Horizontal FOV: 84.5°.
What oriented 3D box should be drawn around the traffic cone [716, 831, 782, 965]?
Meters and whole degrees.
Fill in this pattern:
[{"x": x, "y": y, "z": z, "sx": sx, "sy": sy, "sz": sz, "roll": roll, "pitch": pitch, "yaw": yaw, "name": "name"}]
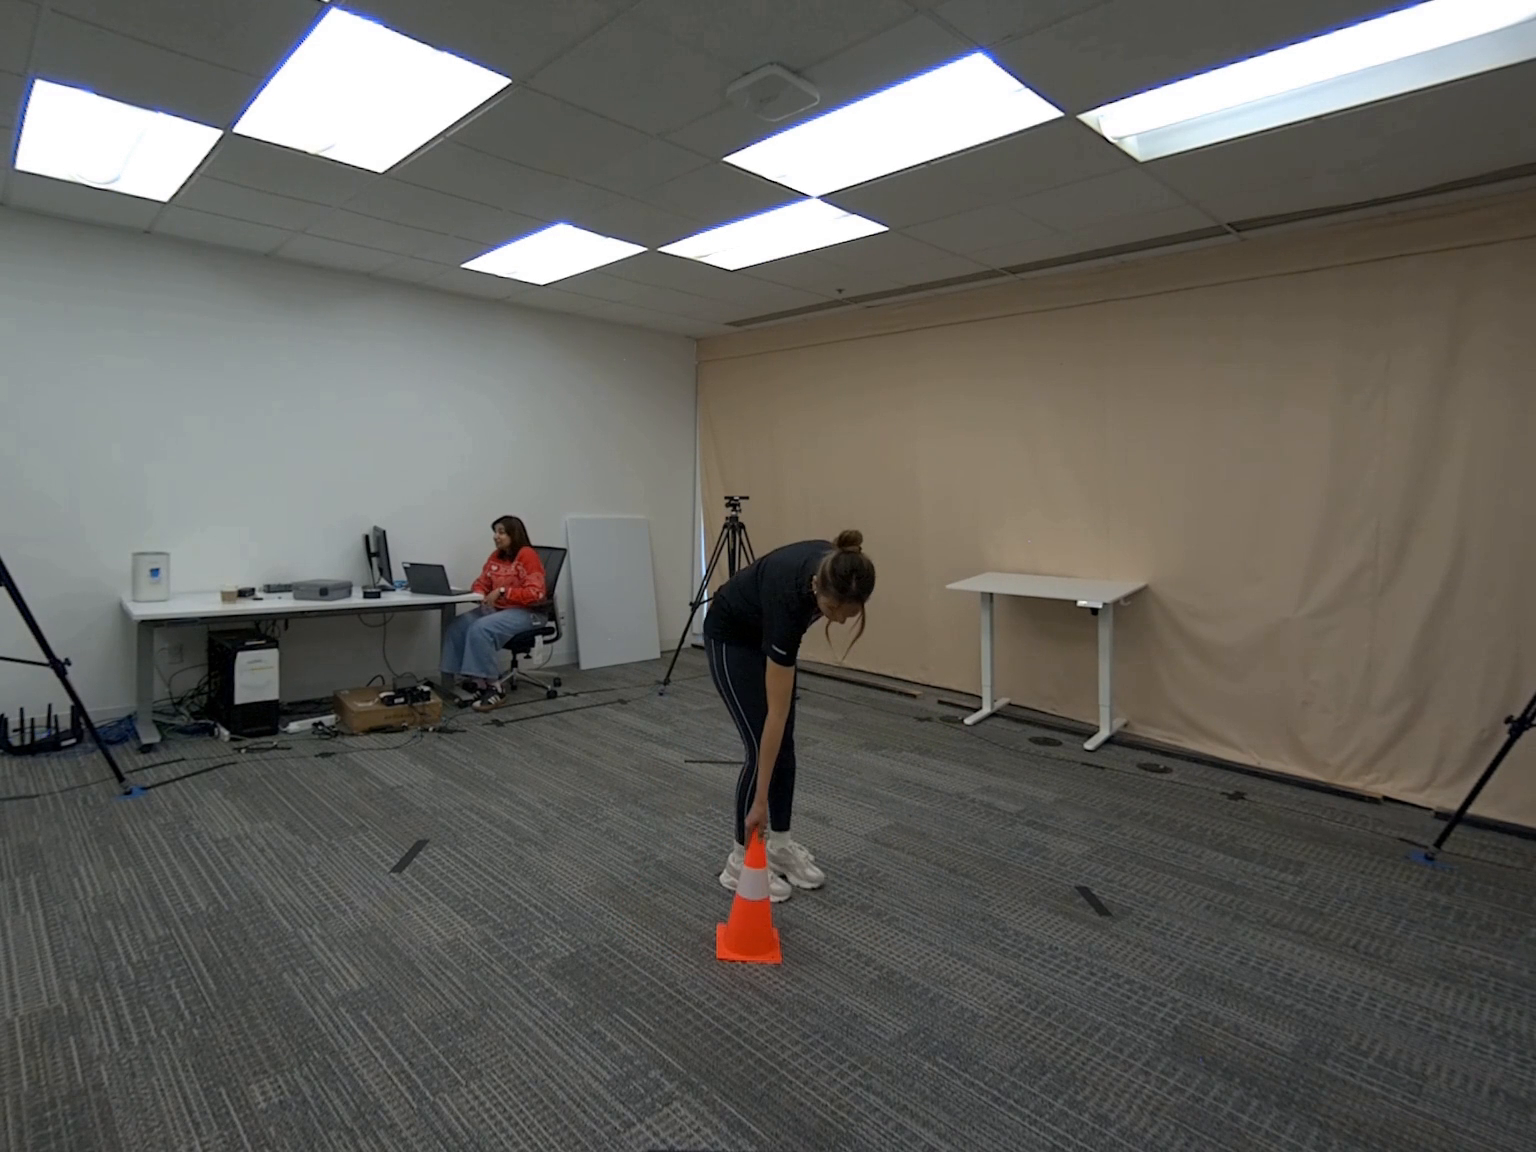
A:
[{"x": -0.049, "y": 0.967, "z": 2.605, "sx": 0.205, "sy": 0.382, "sz": 0.204, "roll": 7, "pitch": 5, "yaw": -1, "name": "traffic cone"}]
